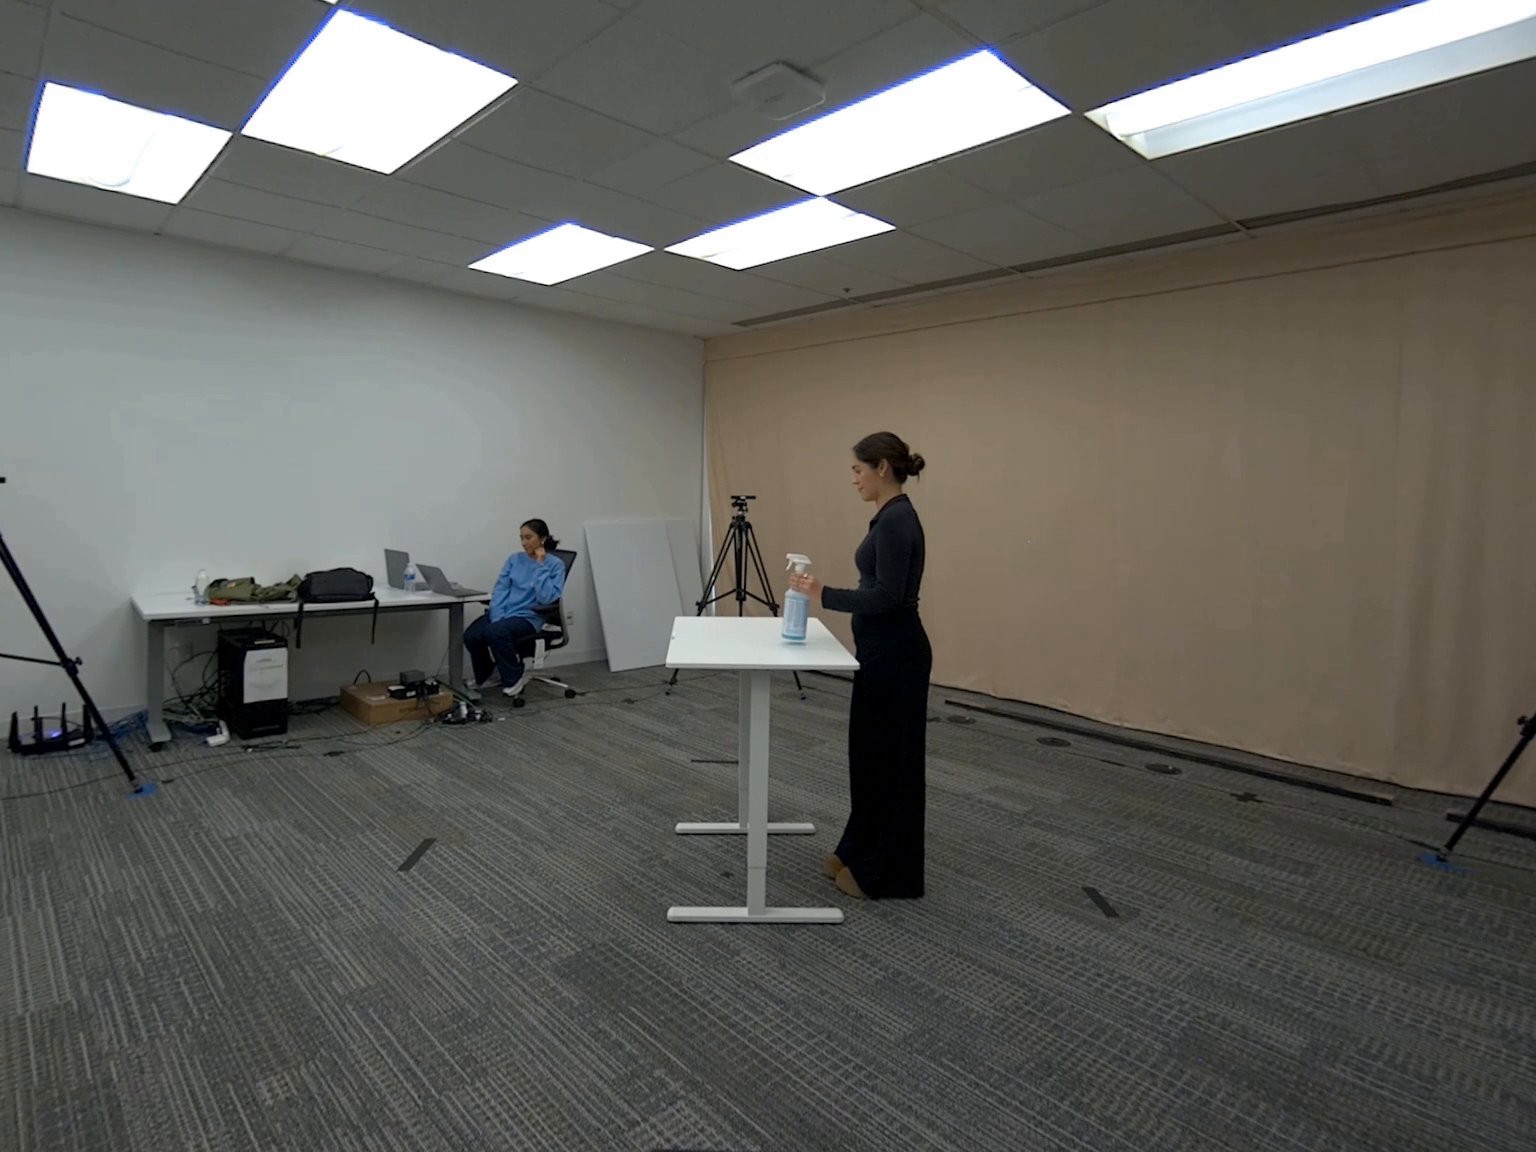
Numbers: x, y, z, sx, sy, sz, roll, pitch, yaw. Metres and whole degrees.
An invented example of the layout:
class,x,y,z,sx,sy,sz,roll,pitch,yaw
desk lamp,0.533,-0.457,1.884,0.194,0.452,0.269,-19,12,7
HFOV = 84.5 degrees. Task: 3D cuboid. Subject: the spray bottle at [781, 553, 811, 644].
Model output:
class,x,y,z,sx,sy,sz,roll,pitch,yaw
spray bottle,0.106,0.066,2.947,0.091,0.296,0.086,4,4,12
